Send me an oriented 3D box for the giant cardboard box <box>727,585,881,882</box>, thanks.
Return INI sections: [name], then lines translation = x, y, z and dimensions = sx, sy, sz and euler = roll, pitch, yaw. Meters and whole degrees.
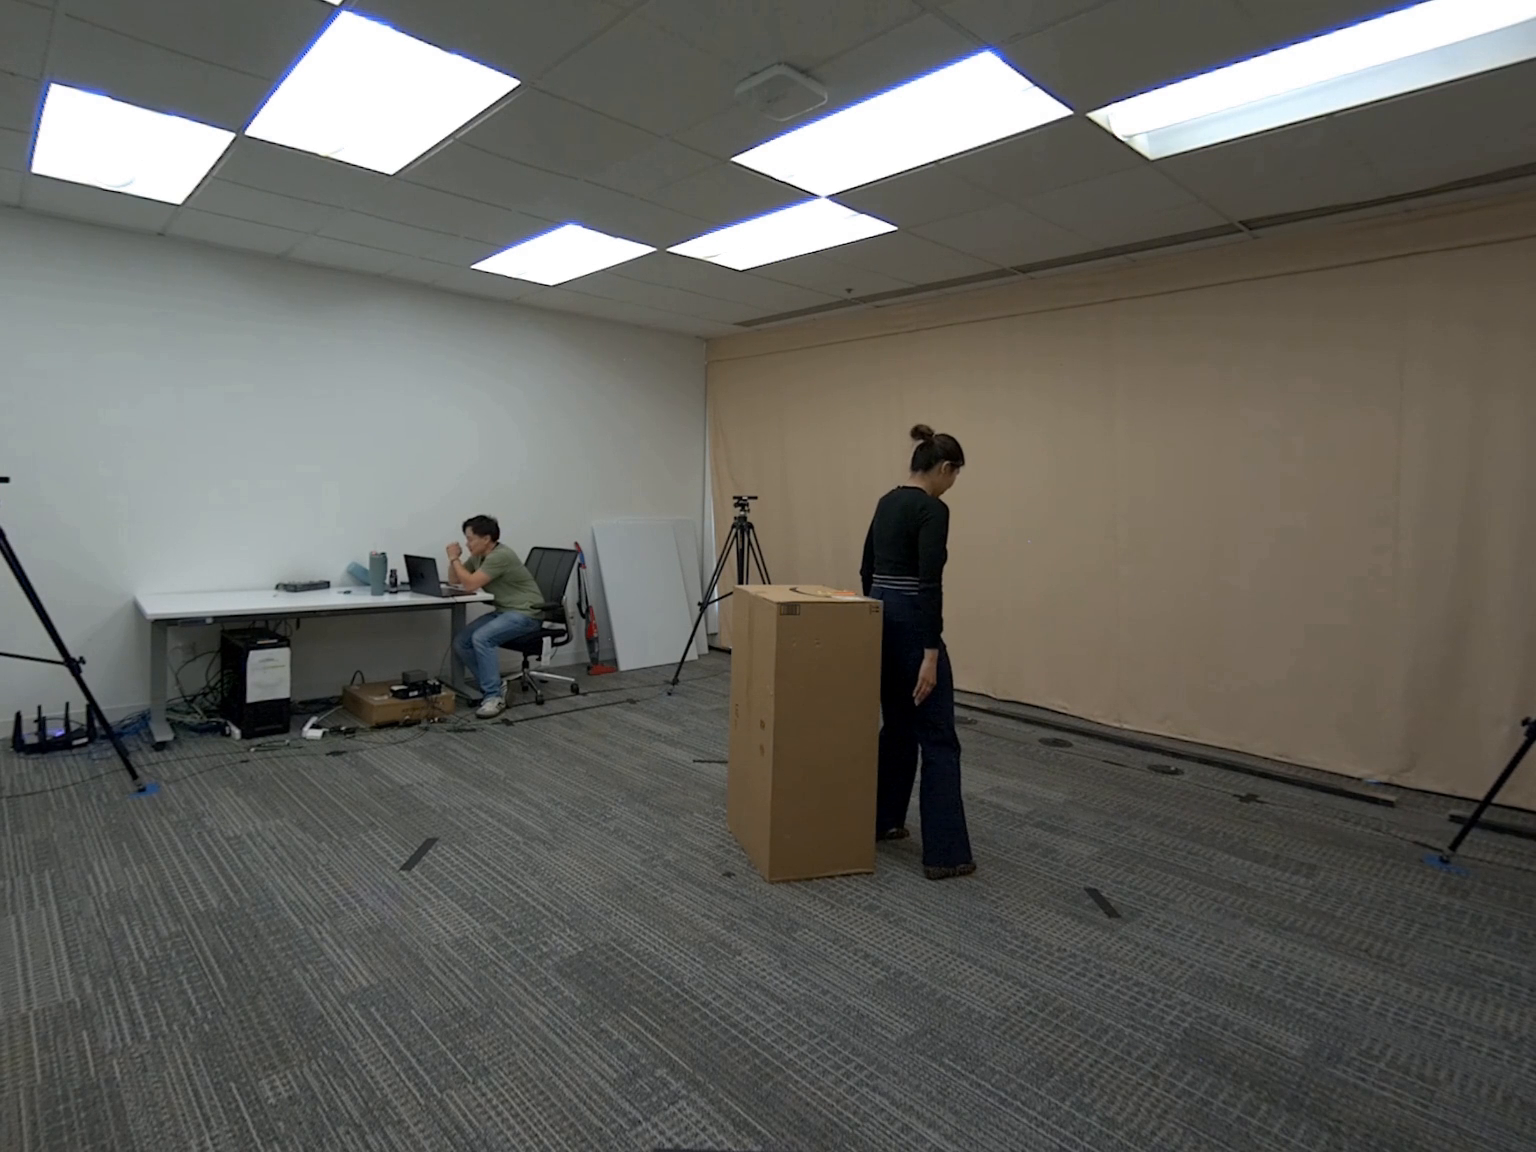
[giant cardboard box]
translation = 0.119, 0.577, 3.342
dimensions = 0.420, 1.024, 0.586
euler = 1, 3, -18
